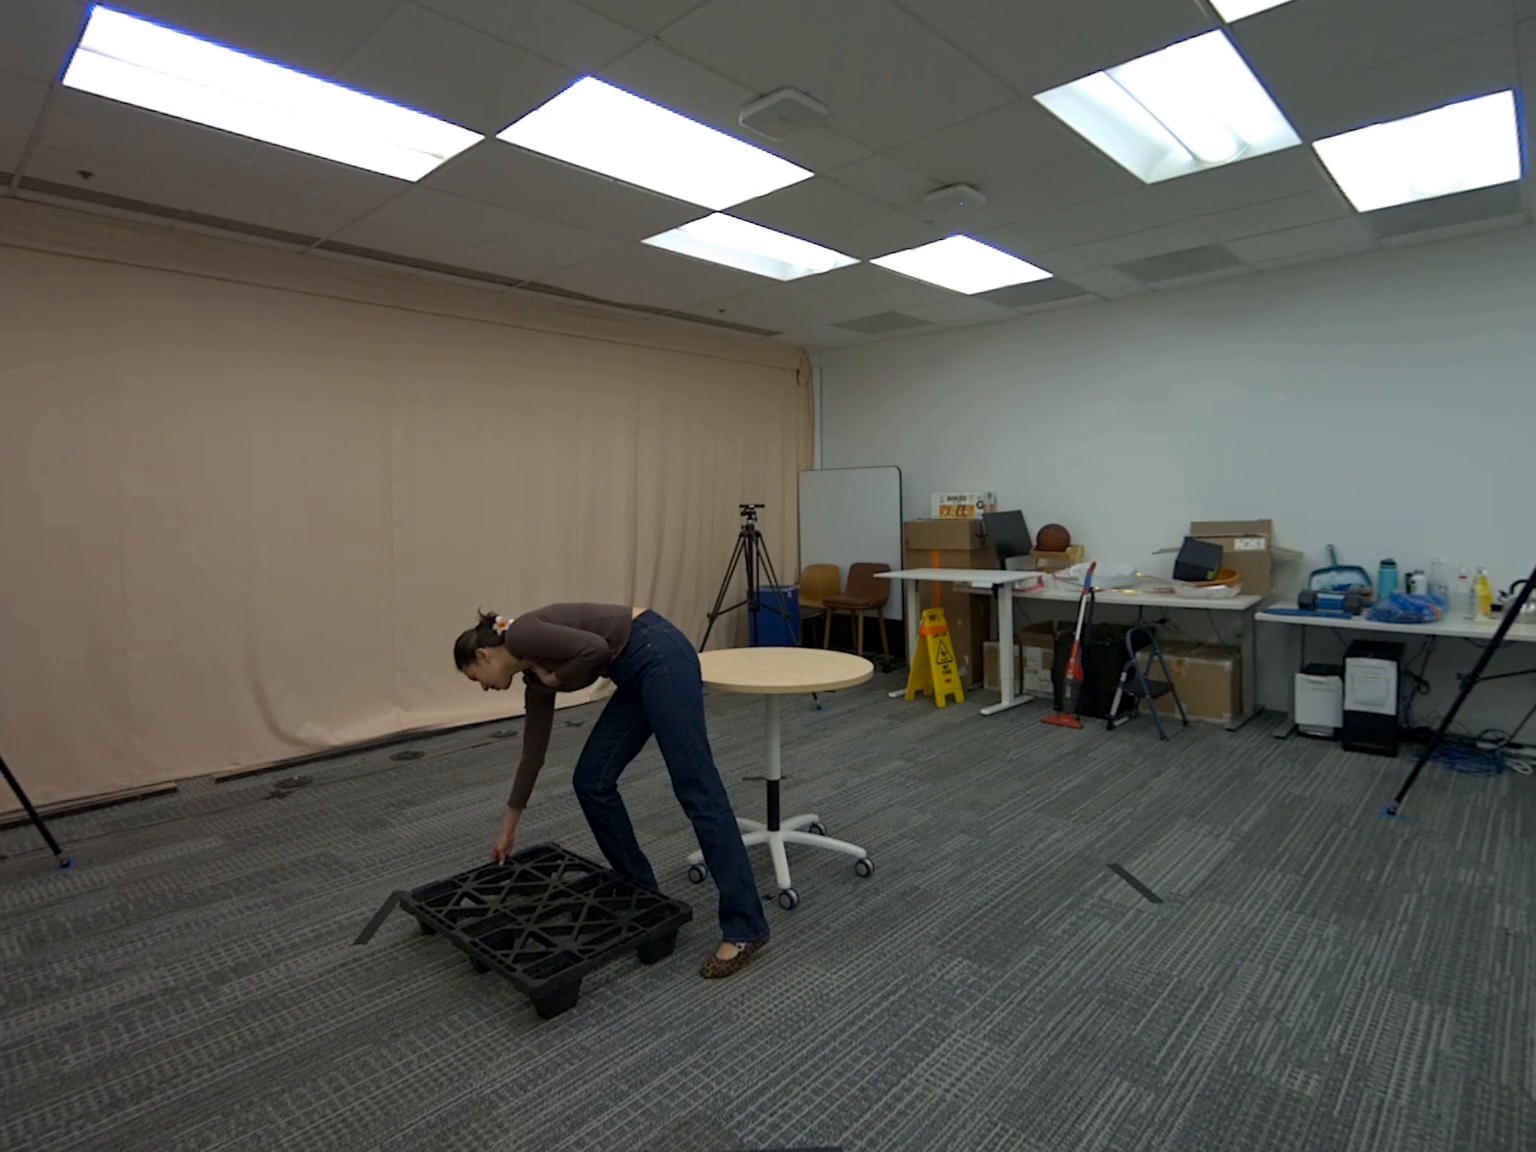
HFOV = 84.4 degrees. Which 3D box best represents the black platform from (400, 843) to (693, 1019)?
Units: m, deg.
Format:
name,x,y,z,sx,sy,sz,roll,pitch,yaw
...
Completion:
name,x,y,z,sx,sy,sz,roll,pitch,yaw
black platform,-0.729,1.116,2.709,0.832,0.143,0.587,3,6,43
